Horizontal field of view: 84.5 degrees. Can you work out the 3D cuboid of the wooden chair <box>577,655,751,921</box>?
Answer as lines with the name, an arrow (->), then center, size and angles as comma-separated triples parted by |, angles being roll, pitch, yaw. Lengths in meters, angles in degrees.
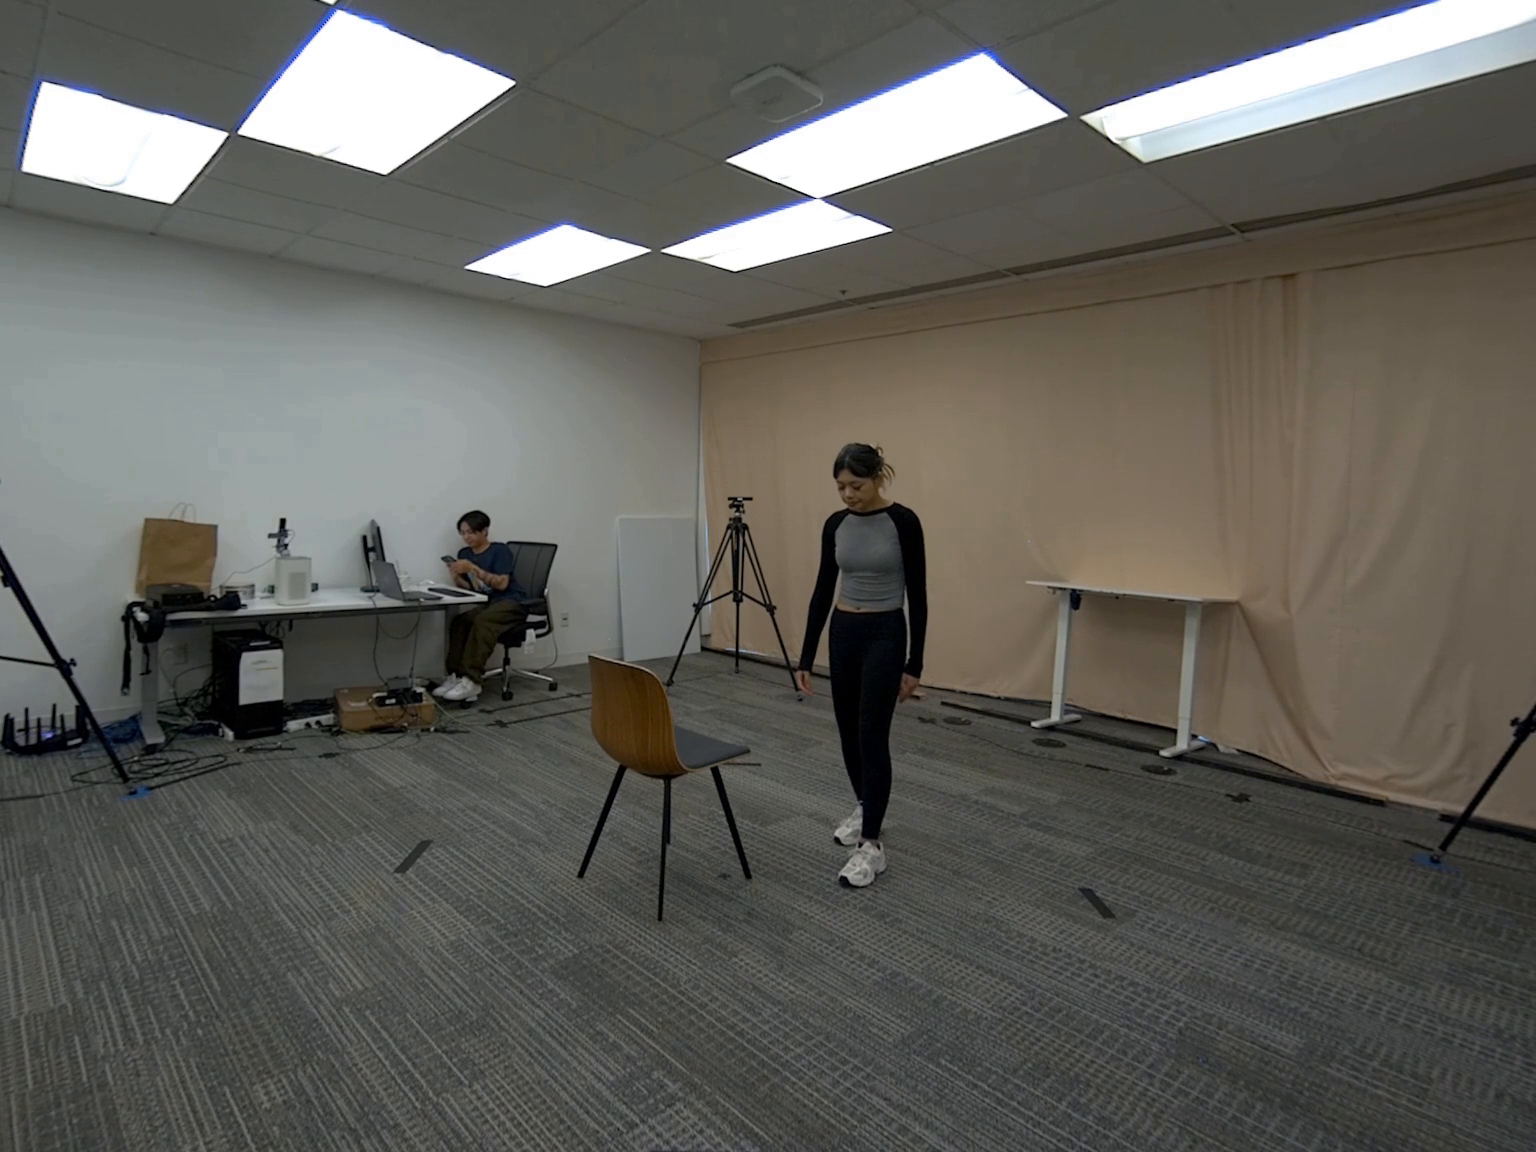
wooden chair -> -0.365, 0.680, 3.046 | 0.490, 0.873, 0.512 | 4, 9, 42
